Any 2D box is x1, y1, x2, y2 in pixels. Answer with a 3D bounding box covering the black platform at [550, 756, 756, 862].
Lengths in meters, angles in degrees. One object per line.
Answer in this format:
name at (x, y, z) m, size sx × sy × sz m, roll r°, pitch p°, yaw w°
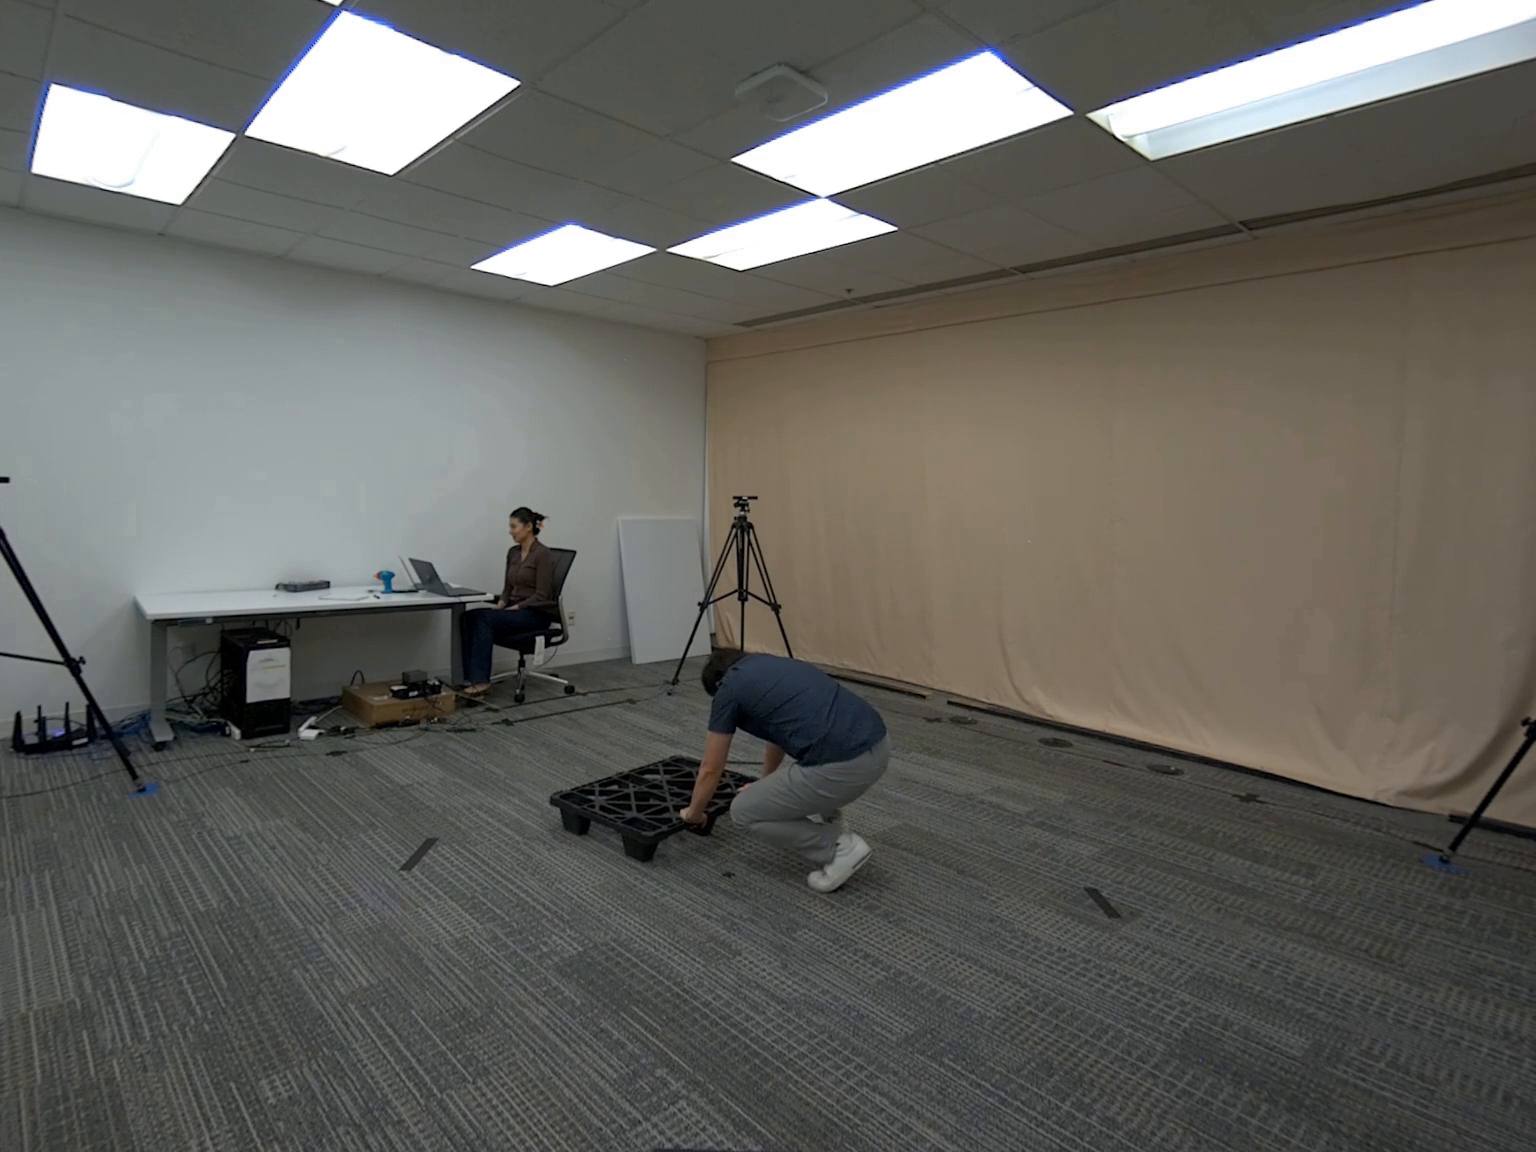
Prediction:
black platform at (-0.450, 0.980, 3.615) m, size 0.620 × 0.143 × 0.788 m, roll 5°, pitch 6°, yaw 38°
